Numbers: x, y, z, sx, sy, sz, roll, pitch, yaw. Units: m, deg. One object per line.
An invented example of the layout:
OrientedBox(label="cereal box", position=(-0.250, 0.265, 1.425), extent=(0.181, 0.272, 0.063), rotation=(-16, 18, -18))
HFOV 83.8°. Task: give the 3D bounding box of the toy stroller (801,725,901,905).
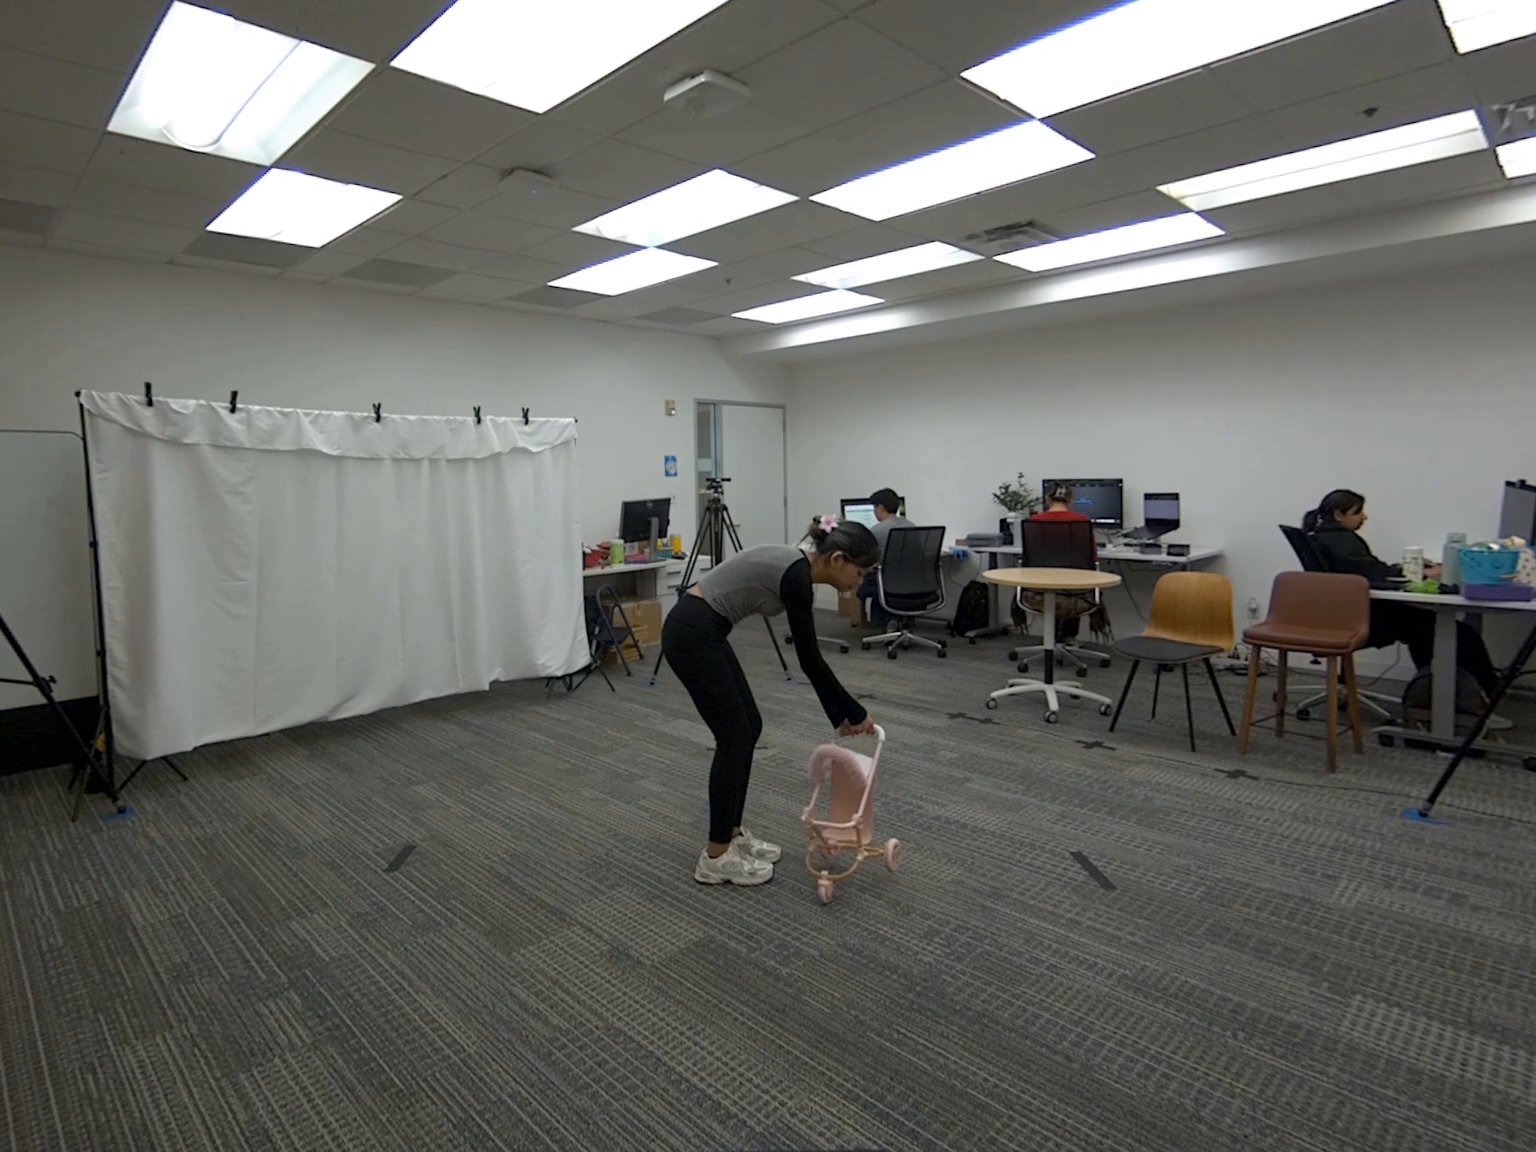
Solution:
OrientedBox(label="toy stroller", position=(0.256, 0.806, 2.923), extent=(0.289, 0.537, 0.331), rotation=(-5, -4, 41))
